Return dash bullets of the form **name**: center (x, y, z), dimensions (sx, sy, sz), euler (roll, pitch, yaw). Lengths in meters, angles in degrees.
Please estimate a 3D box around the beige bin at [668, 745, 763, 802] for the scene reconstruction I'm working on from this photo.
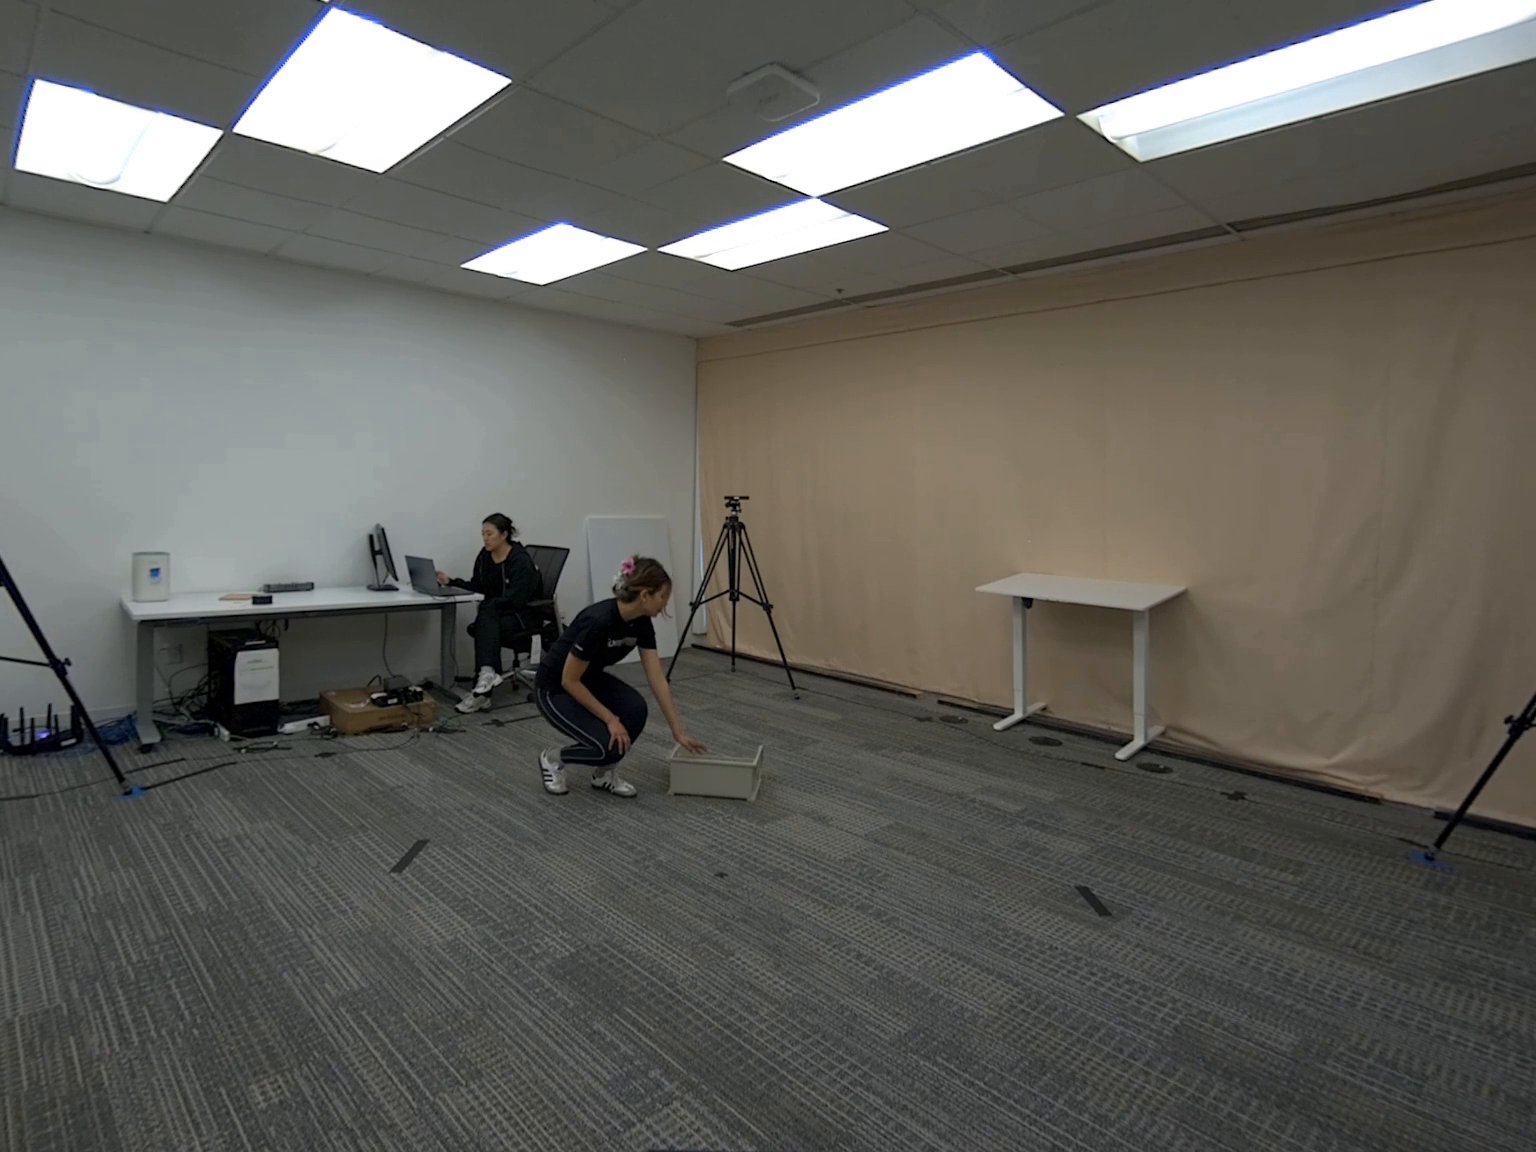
- **beige bin**: center (-0.259, 0.930, 4.088), dimensions (0.425, 0.188, 0.376), euler (2, 5, 6)
